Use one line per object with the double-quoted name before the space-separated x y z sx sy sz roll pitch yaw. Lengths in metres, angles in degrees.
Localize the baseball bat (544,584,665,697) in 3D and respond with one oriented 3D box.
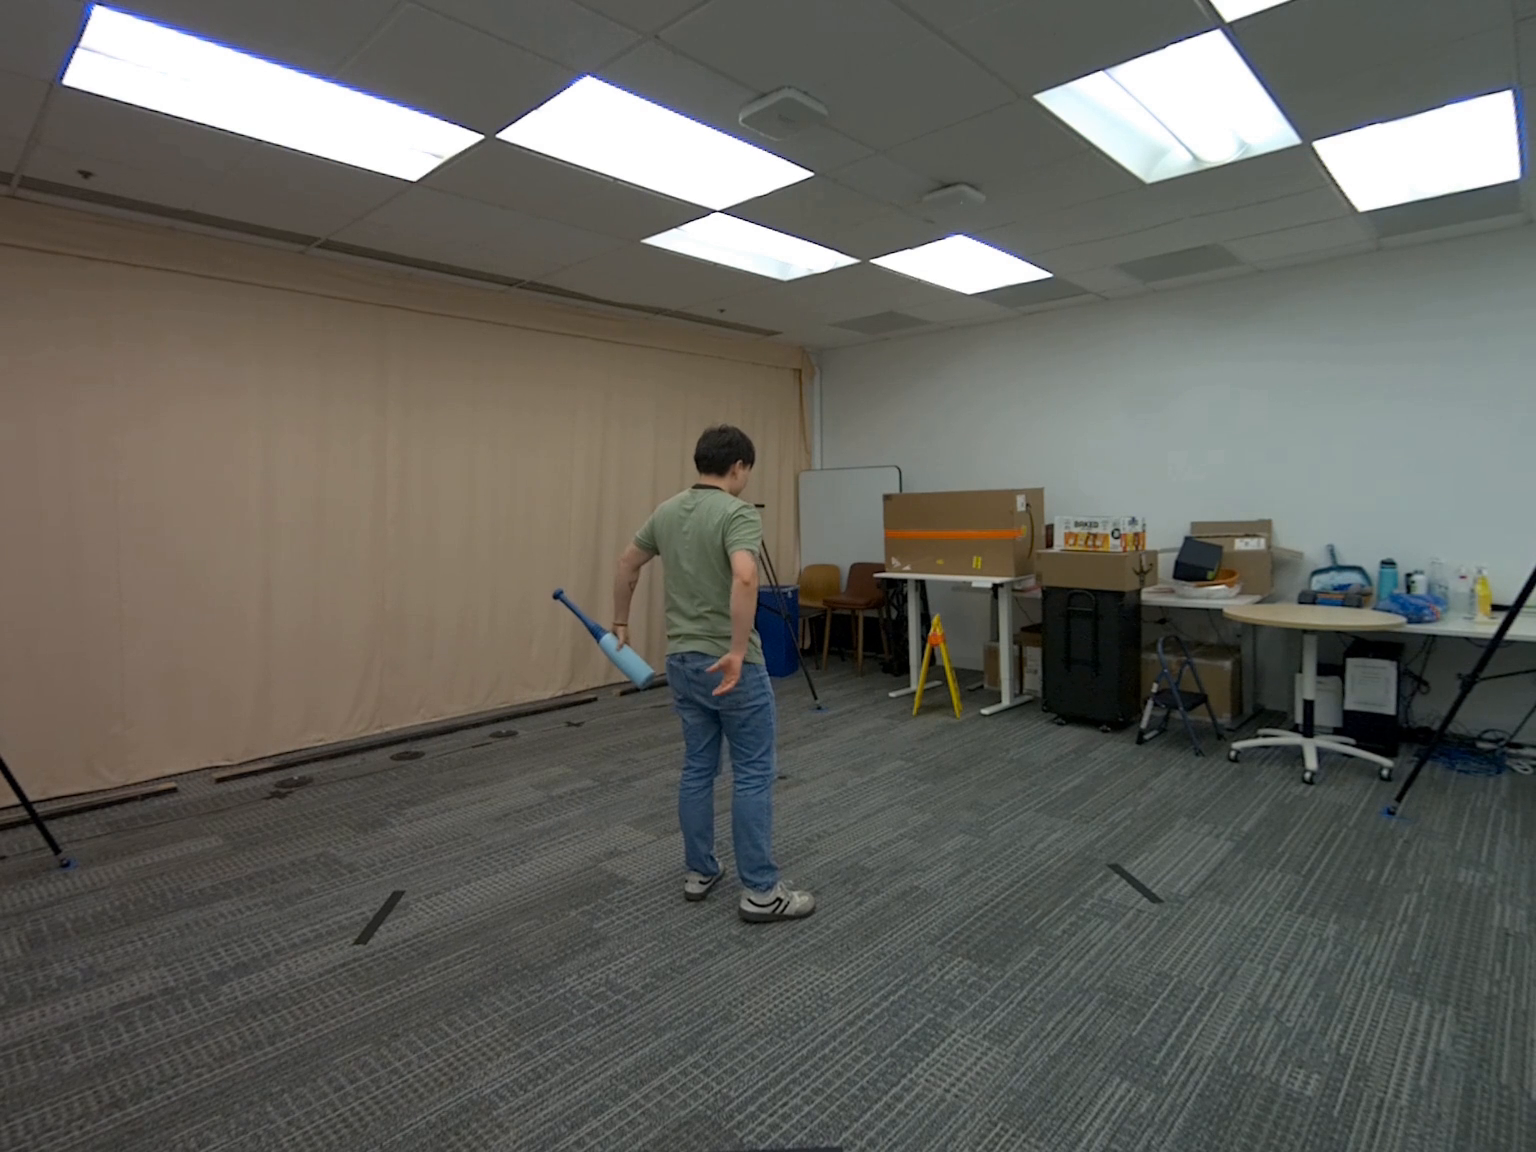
"baseball bat" -0.632 0.237 3.238 0.556 0.089 0.087 39 20 21
